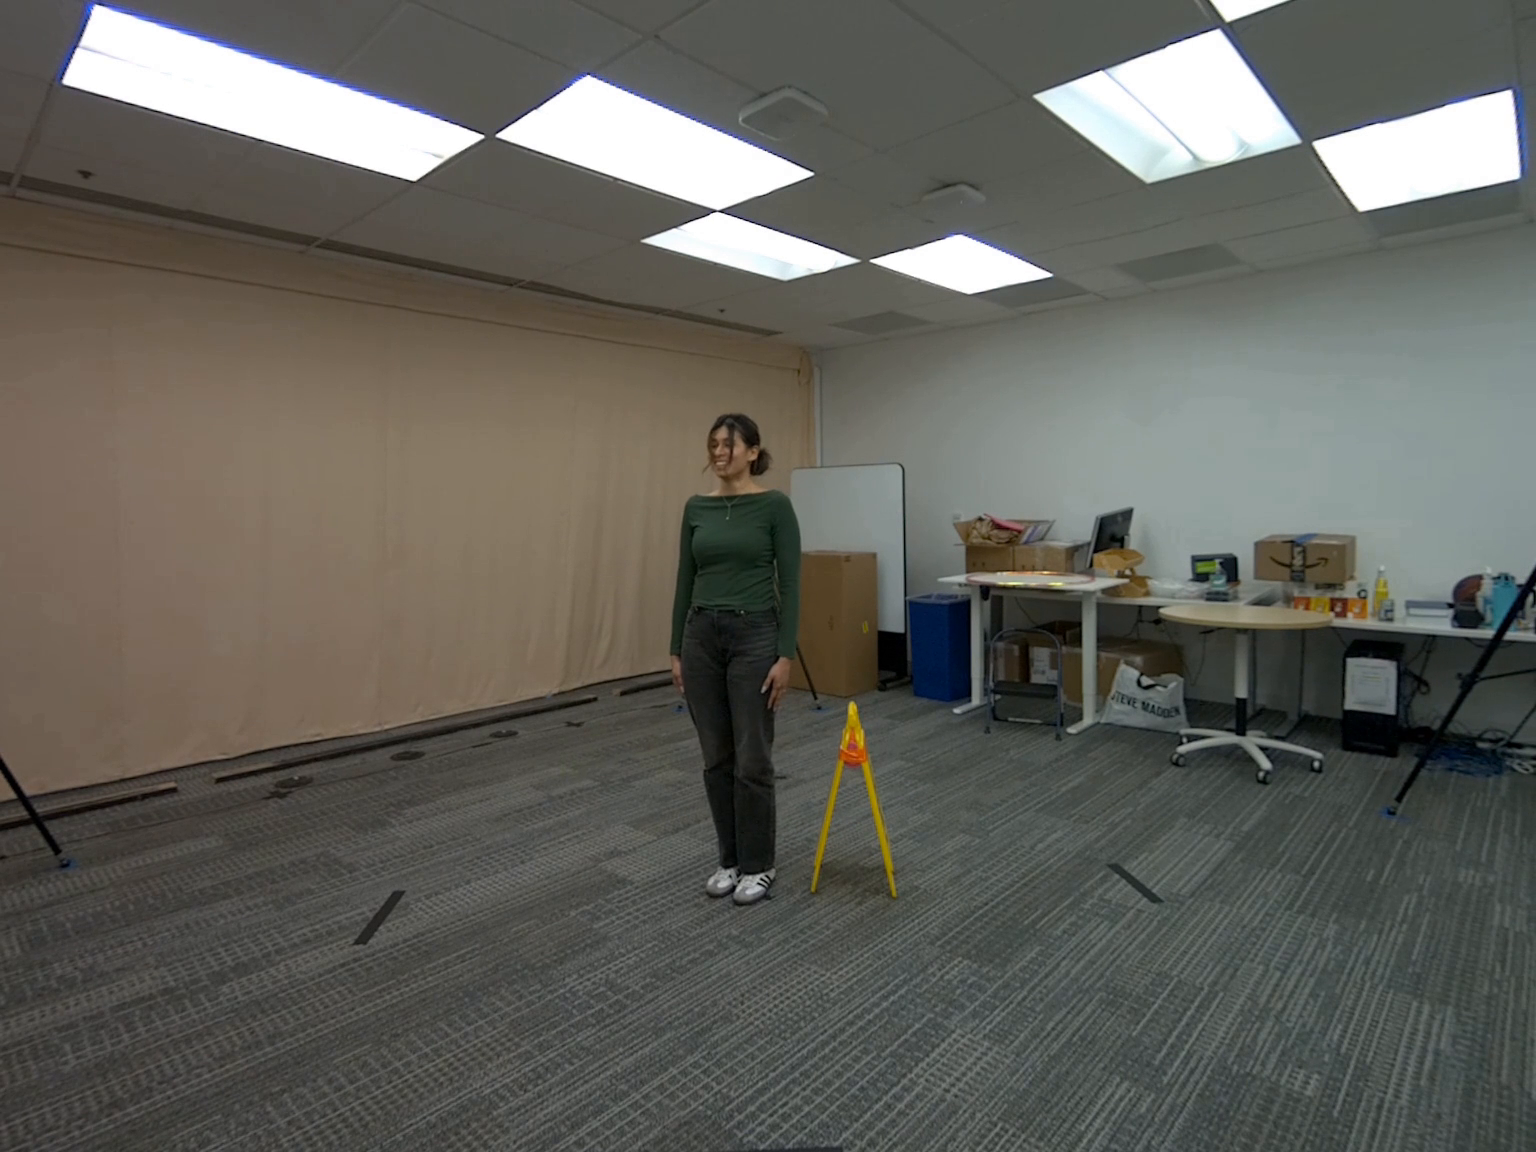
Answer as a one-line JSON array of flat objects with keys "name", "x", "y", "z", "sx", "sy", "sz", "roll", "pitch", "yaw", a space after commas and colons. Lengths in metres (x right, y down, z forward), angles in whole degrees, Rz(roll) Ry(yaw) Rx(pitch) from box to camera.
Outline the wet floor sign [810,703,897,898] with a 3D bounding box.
[{"name": "wet floor sign", "x": 0.314, "y": 0.803, "z": 3.099, "sx": 0.292, "sy": 0.645, "sz": 0.280, "roll": -1, "pitch": 1, "yaw": 7}]
